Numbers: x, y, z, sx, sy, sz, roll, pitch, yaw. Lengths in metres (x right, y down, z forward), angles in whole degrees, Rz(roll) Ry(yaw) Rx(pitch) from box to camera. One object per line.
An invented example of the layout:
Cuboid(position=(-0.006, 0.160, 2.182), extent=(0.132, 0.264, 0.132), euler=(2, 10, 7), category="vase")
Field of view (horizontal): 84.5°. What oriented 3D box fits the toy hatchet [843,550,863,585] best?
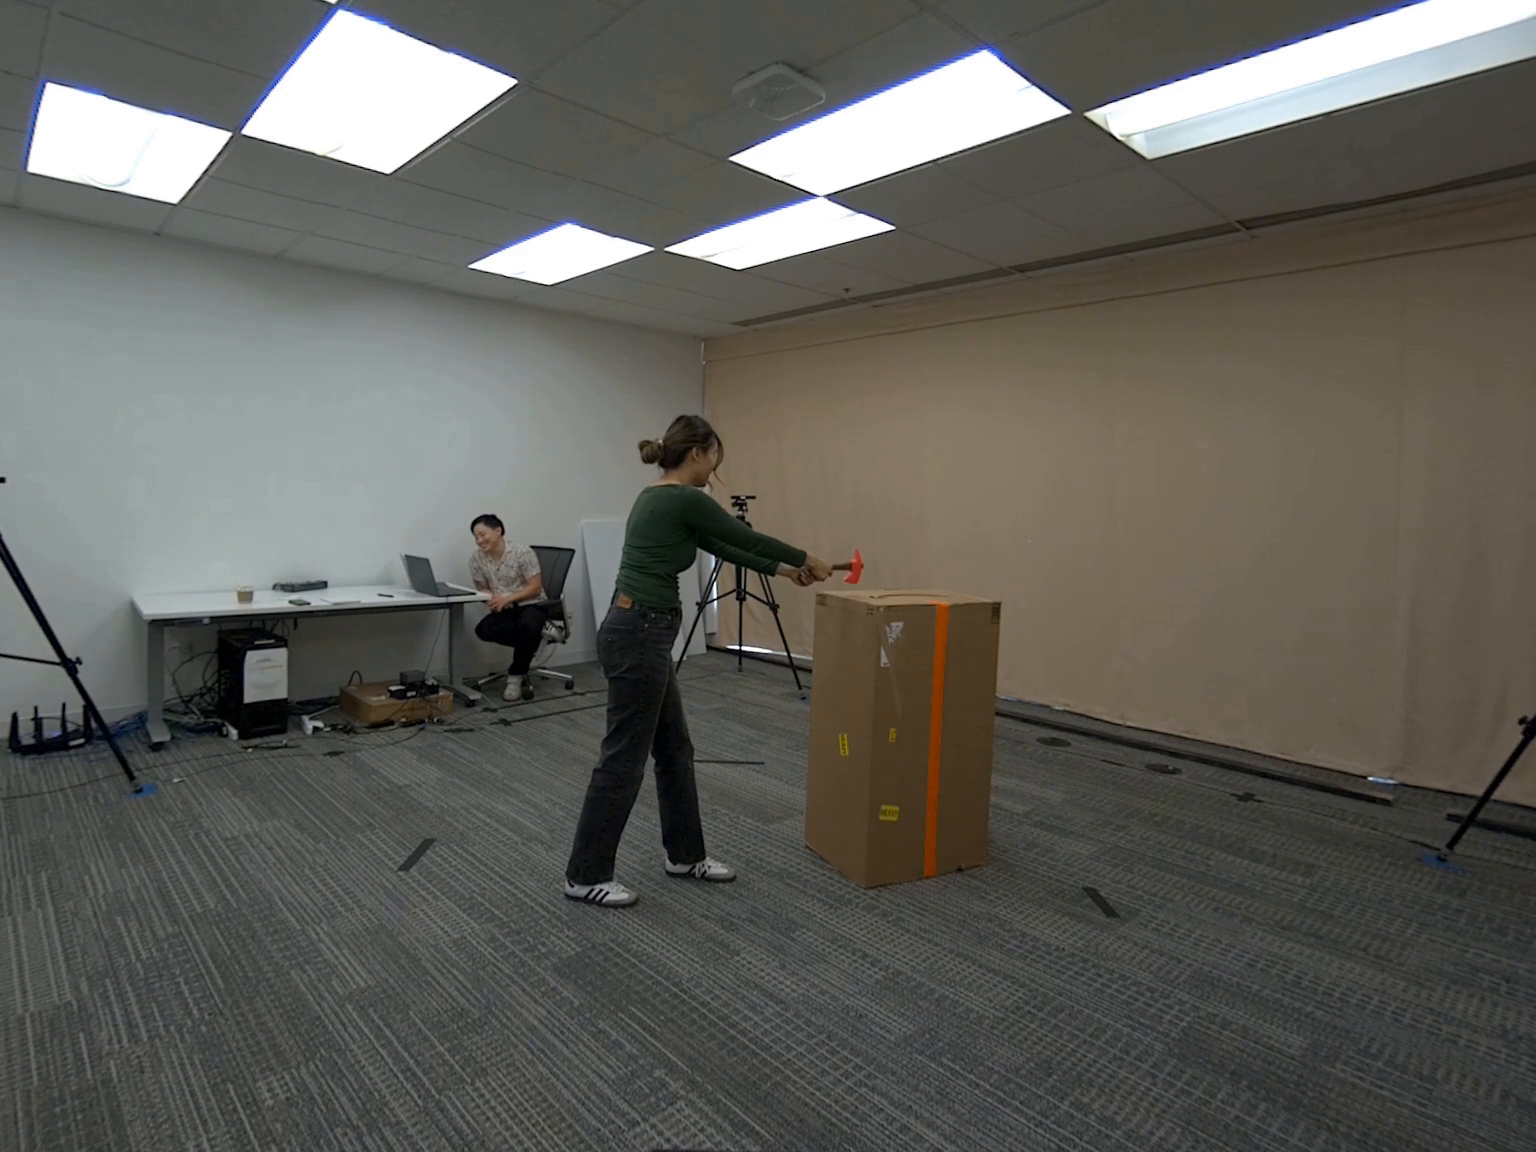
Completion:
Cuboid(position=(0.235, -0.007, 3.176), extent=(0.268, 0.129, 0.030), euler=(-22, 15, -12), category="toy hatchet")
